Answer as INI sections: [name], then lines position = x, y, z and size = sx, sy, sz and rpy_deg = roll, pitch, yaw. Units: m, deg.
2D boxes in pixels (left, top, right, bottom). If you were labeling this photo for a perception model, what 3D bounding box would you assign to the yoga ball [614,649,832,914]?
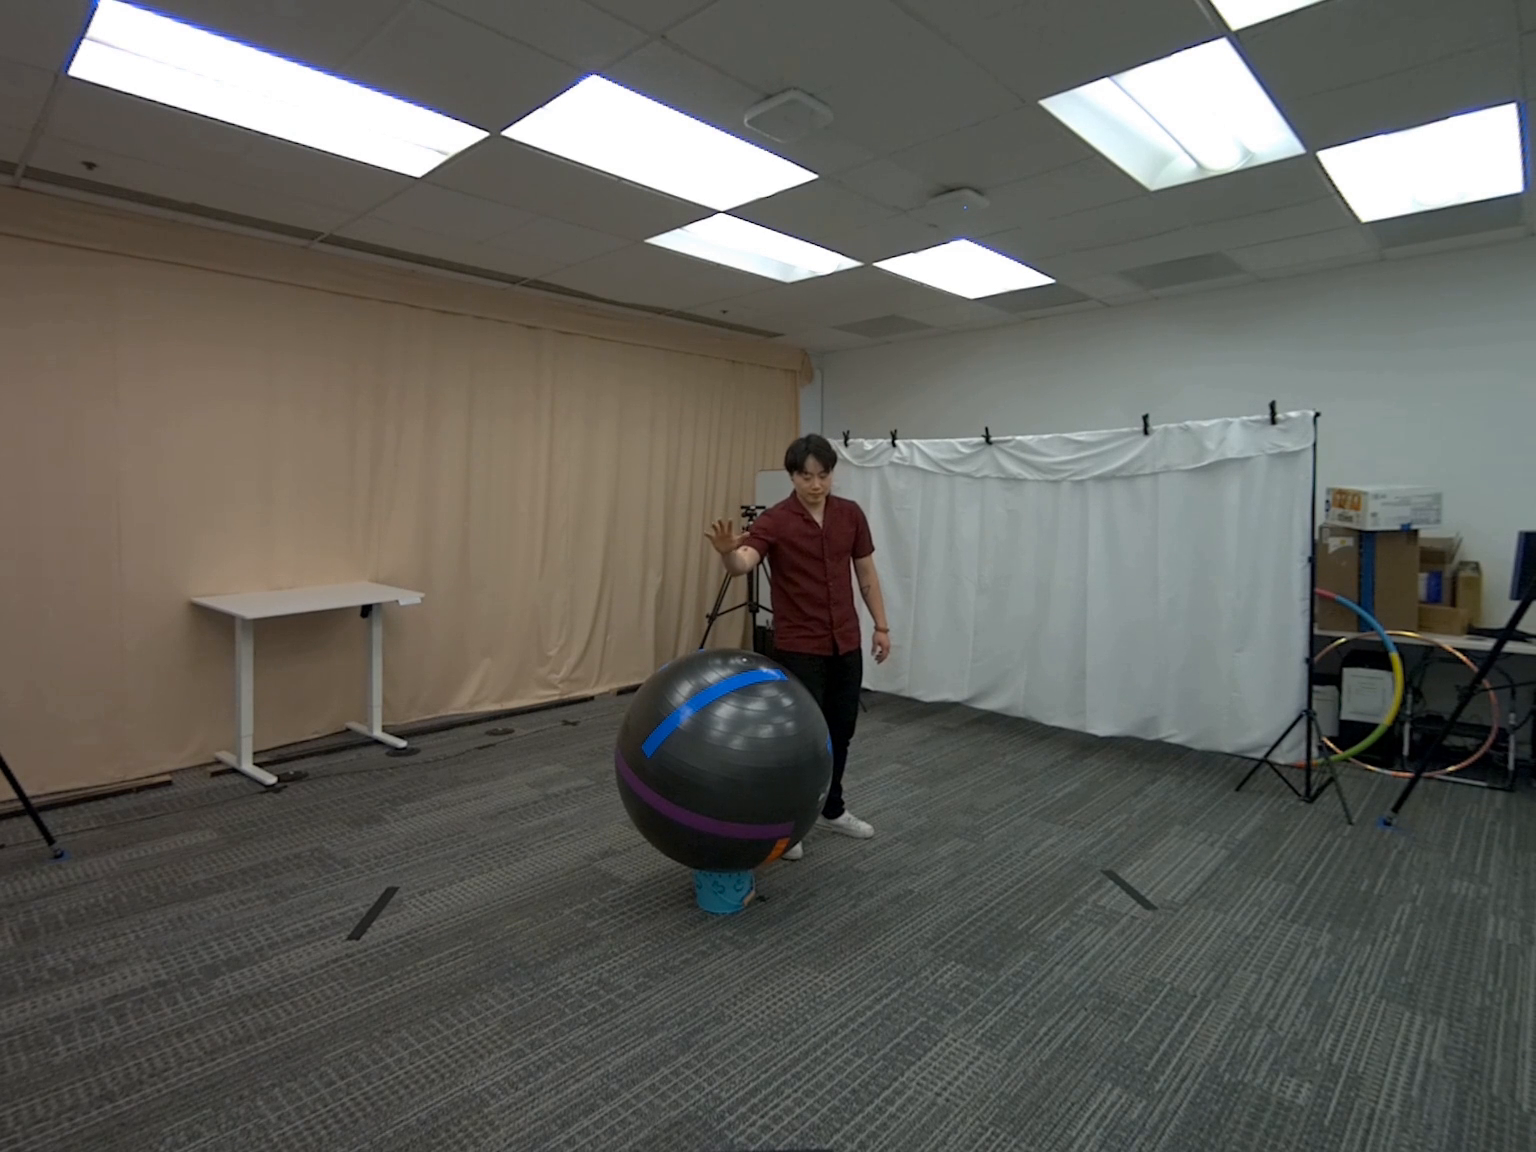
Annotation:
[yoga ball]
position = -0.156, 0.643, 2.932
size = 0.757, 0.756, 0.760
rpy_deg = 0, 4, -2
